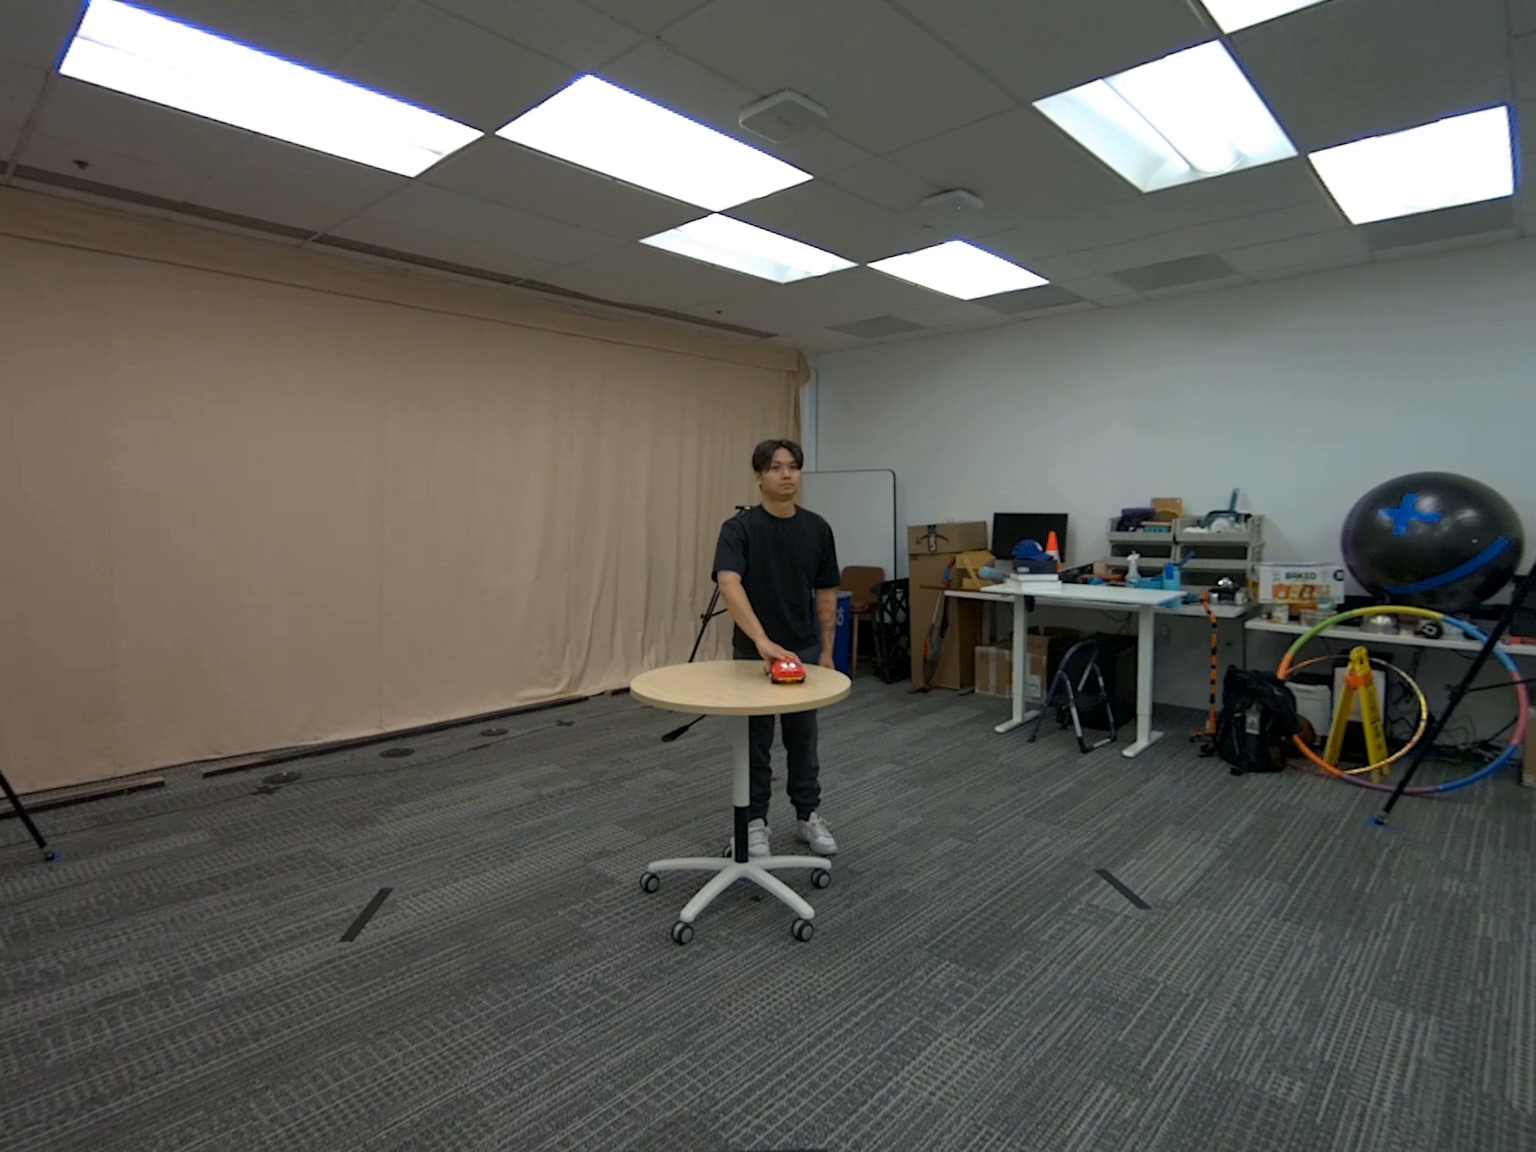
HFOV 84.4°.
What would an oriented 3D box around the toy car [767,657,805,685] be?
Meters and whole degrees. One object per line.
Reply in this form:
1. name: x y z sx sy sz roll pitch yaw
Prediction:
1. toy car: 0.058 0.325 2.938 0.129 0.083 0.255 -1 -2 -7
